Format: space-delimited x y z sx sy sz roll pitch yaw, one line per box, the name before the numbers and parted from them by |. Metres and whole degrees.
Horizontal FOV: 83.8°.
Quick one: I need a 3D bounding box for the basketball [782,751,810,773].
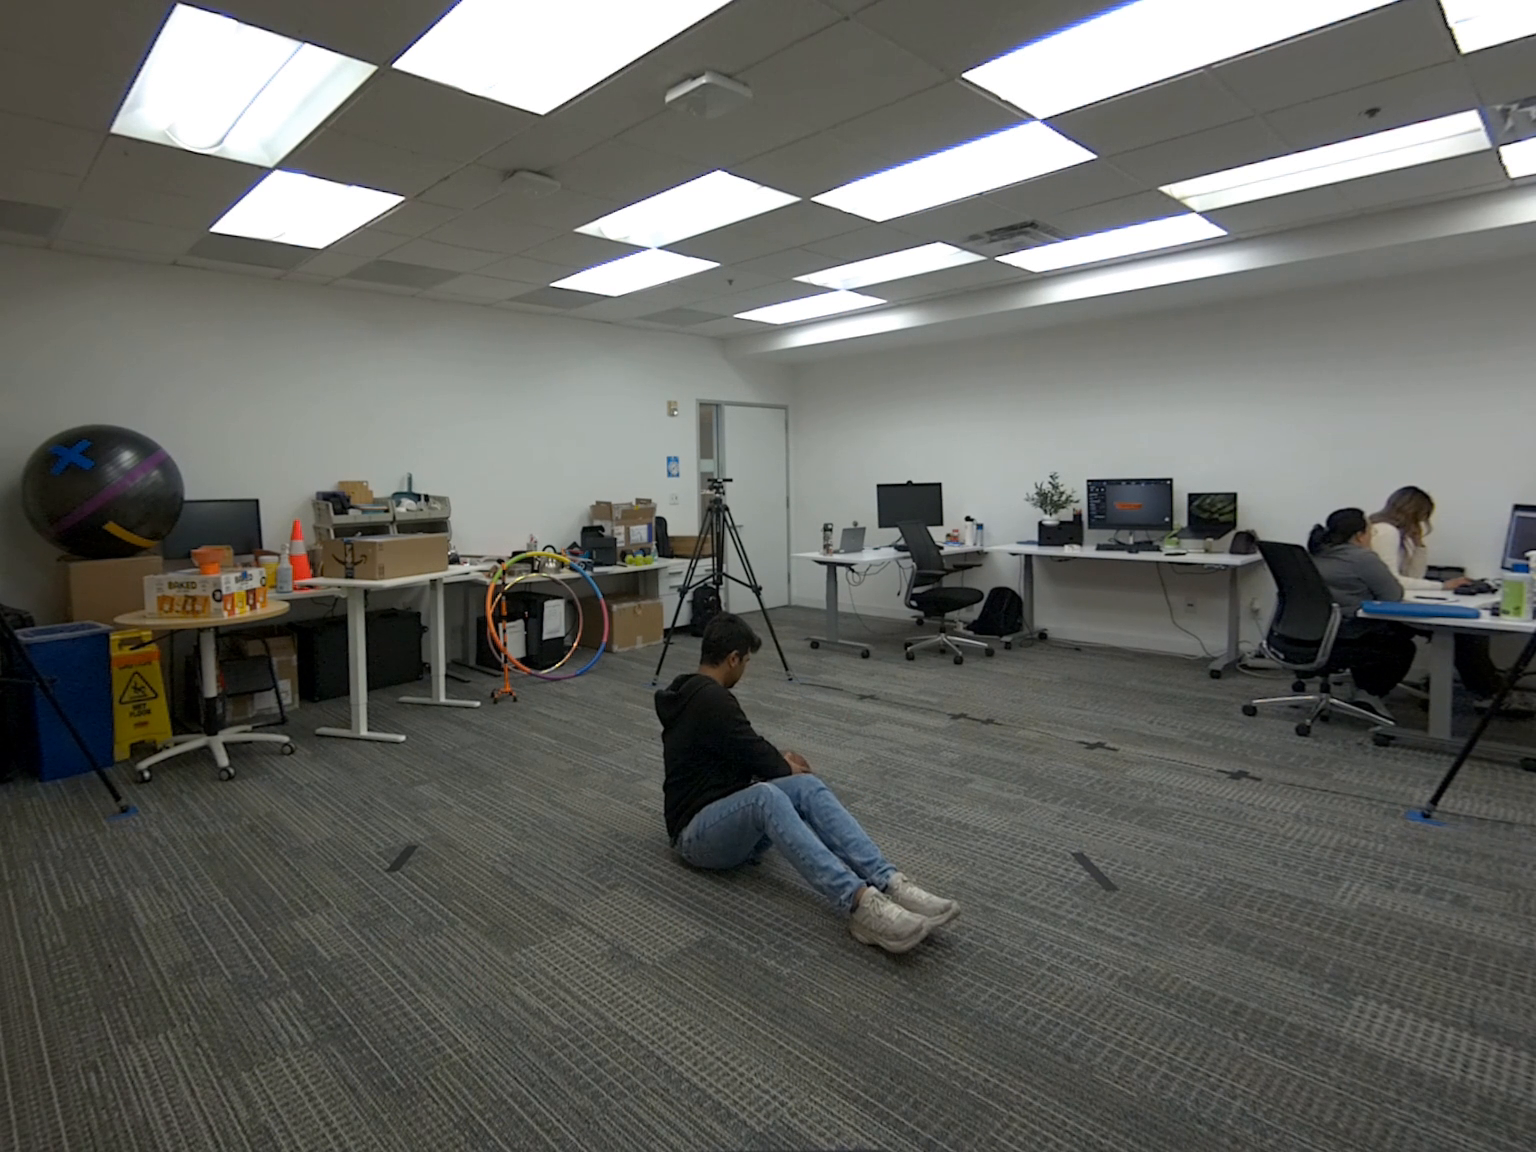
basketball | 0.070 0.833 3.530 0.236 0.235 0.237 -1 5 -2
